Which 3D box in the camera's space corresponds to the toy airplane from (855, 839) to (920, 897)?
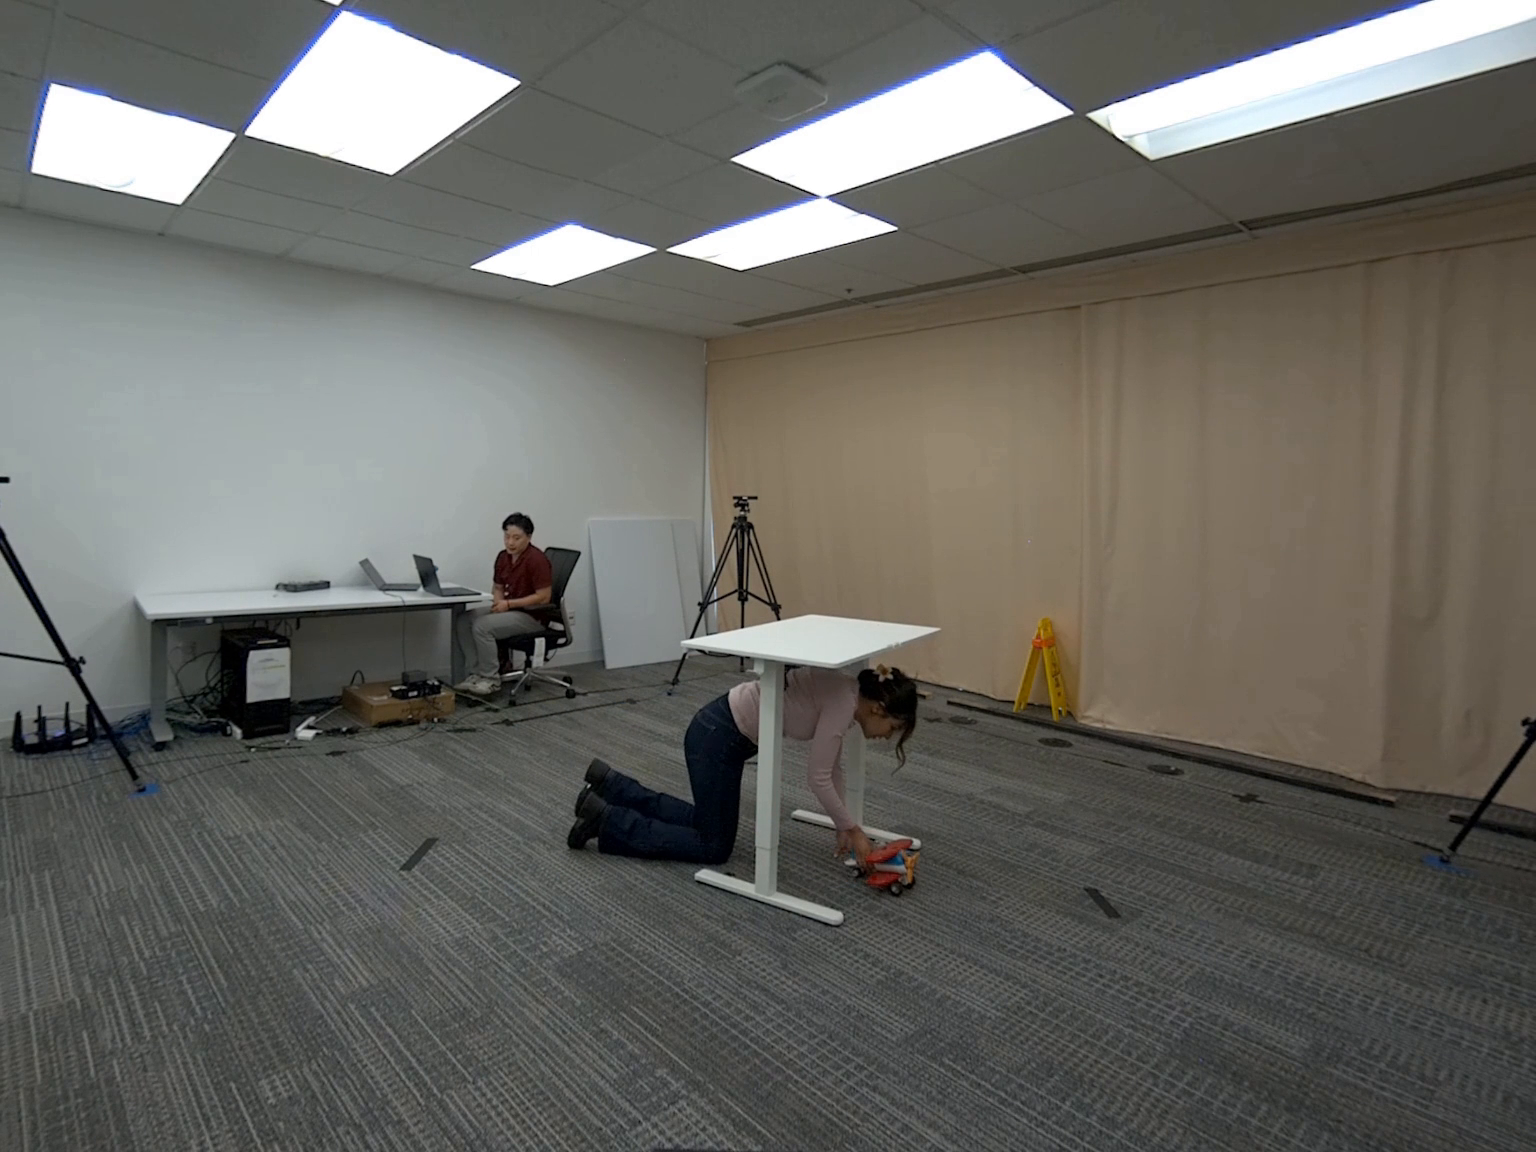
[{"bbox_3d":[0.395,1.044,3.034,0.262,0.156,0.249,4,5,11],"label":"toy airplane"}]
